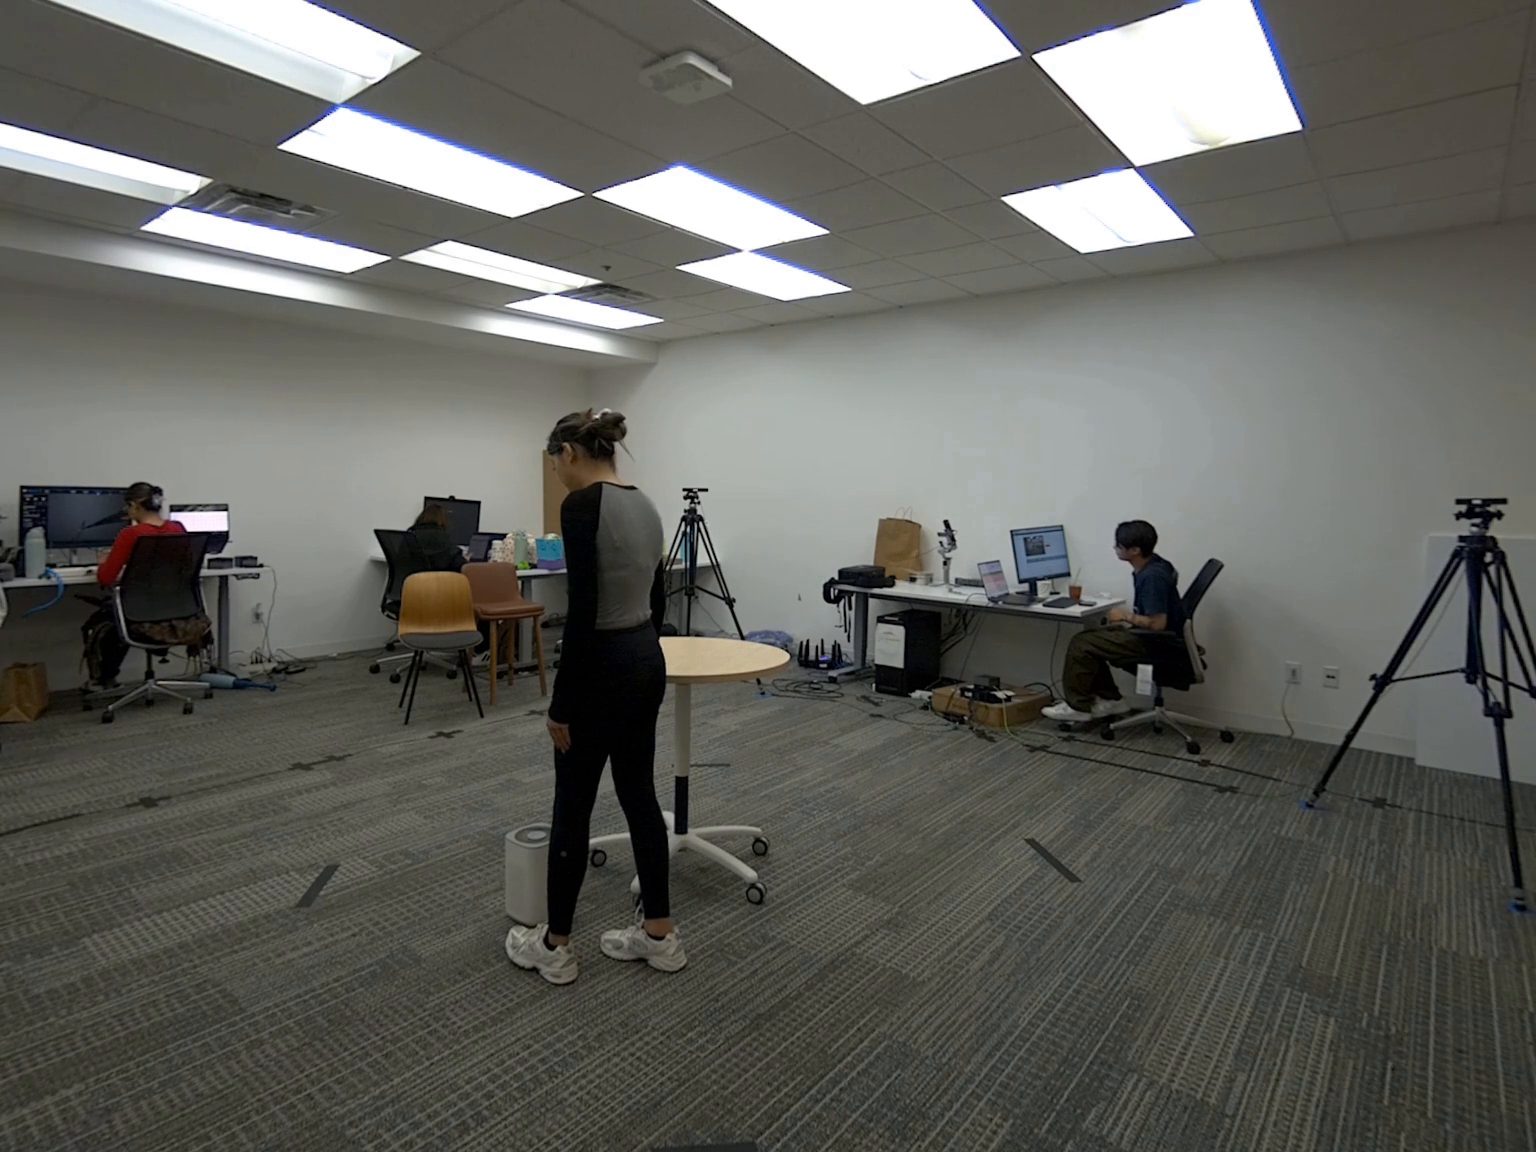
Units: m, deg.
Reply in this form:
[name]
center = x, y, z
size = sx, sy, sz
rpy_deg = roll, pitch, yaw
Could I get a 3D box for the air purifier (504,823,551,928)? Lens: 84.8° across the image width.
[air purifier]
center = -0.759, 0.963, 2.747
size = 0.177, 0.264, 0.166
rpy_deg = 3, 4, 36
